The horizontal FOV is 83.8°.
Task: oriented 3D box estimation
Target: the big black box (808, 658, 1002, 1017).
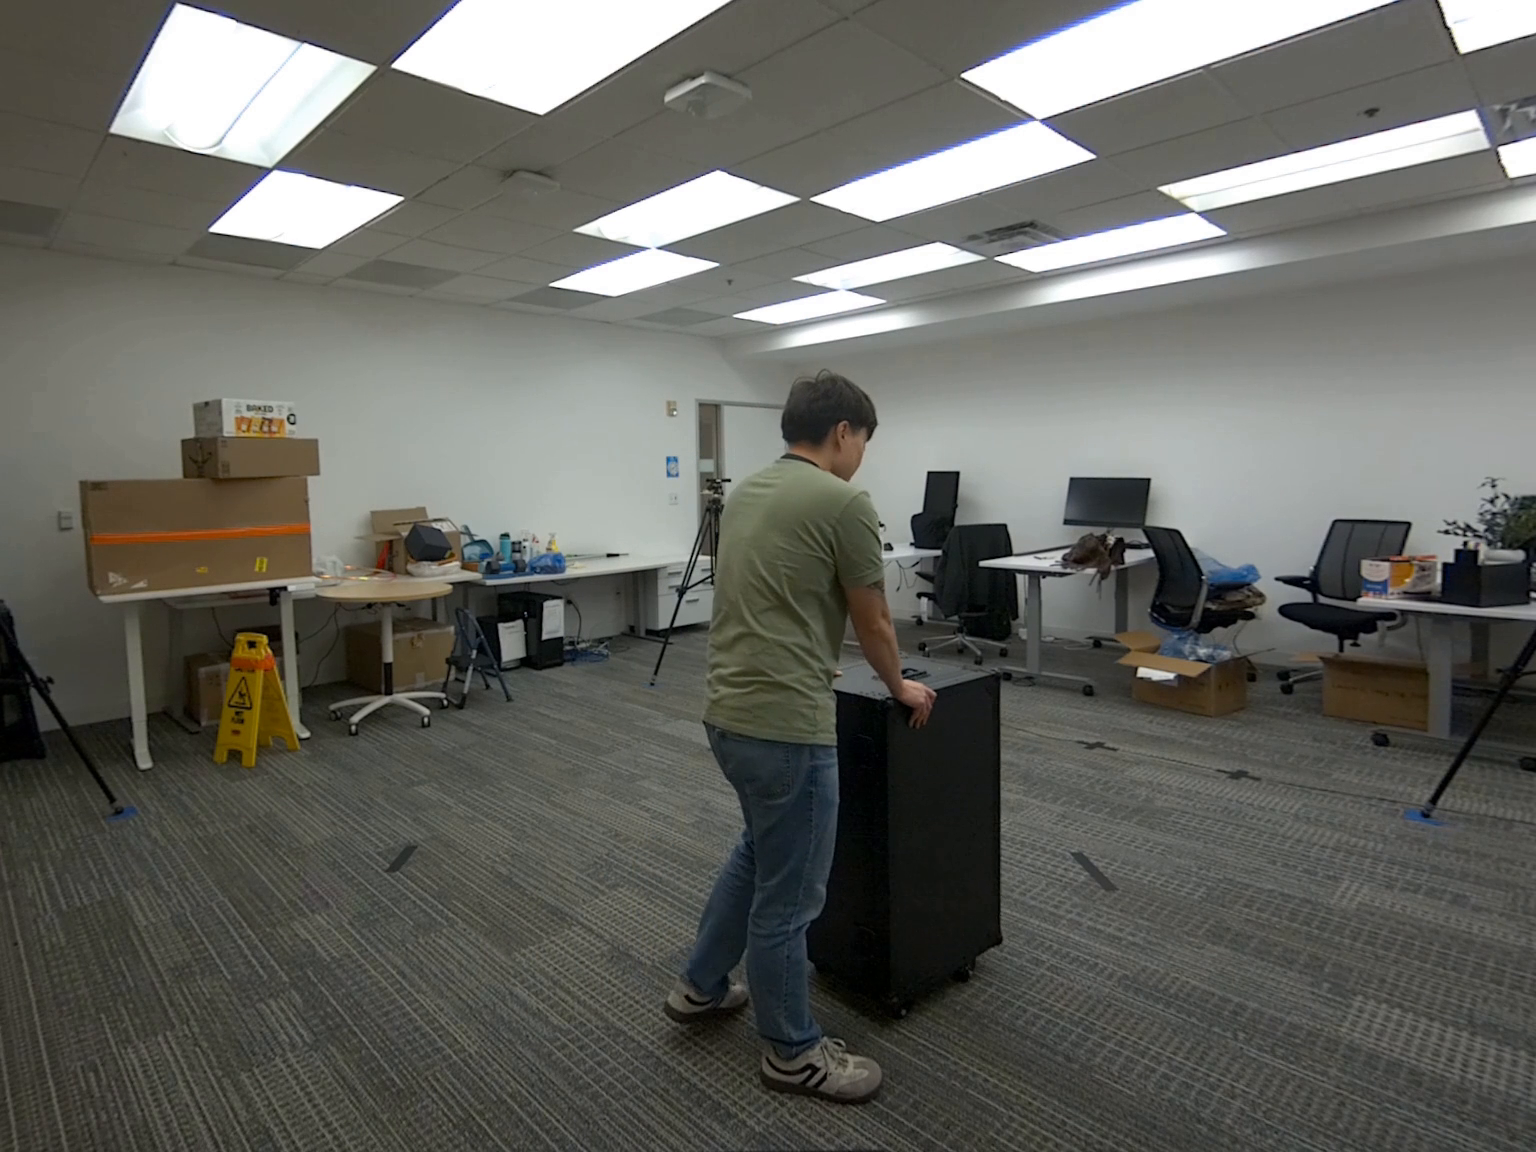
[{"bbox_3d":[0.358,0.694,2.393,0.507,0.859,0.408,-4,4,-40],"label":"big black box"}]
